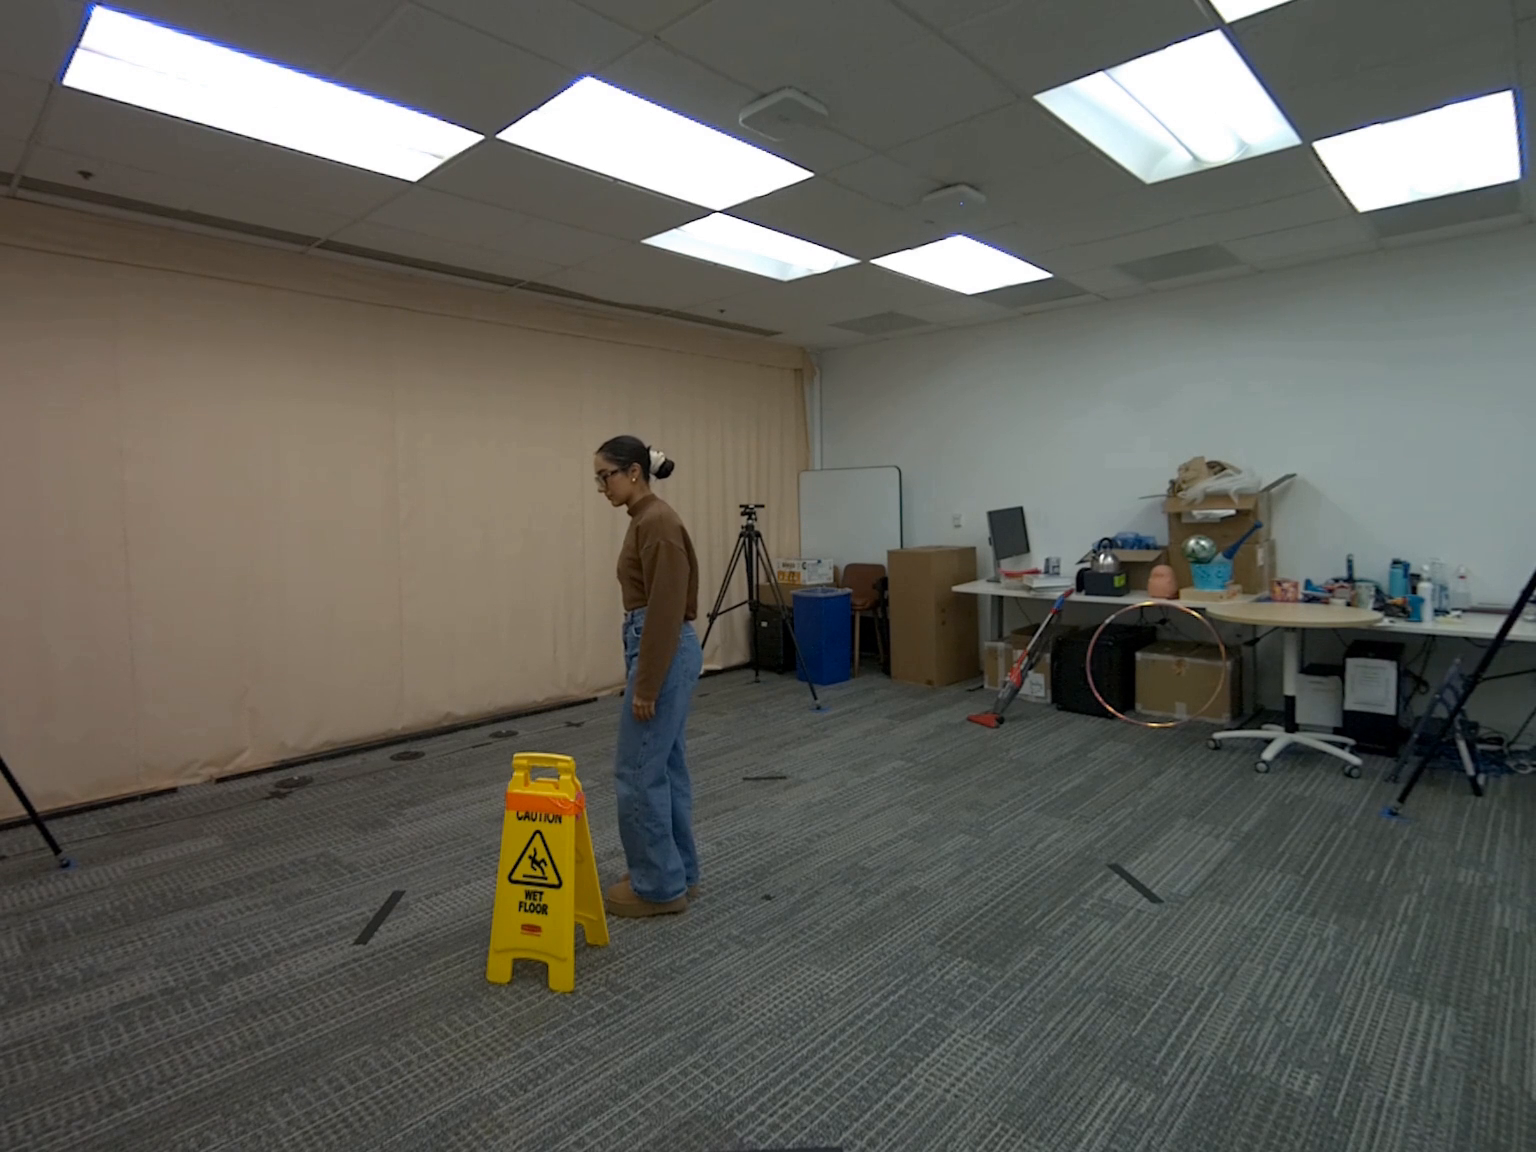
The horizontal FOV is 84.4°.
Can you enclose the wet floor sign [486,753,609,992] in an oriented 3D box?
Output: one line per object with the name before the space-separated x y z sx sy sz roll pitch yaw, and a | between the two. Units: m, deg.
wet floor sign | -0.676 0.865 2.573 0.286 0.645 0.286 -2 3 13
